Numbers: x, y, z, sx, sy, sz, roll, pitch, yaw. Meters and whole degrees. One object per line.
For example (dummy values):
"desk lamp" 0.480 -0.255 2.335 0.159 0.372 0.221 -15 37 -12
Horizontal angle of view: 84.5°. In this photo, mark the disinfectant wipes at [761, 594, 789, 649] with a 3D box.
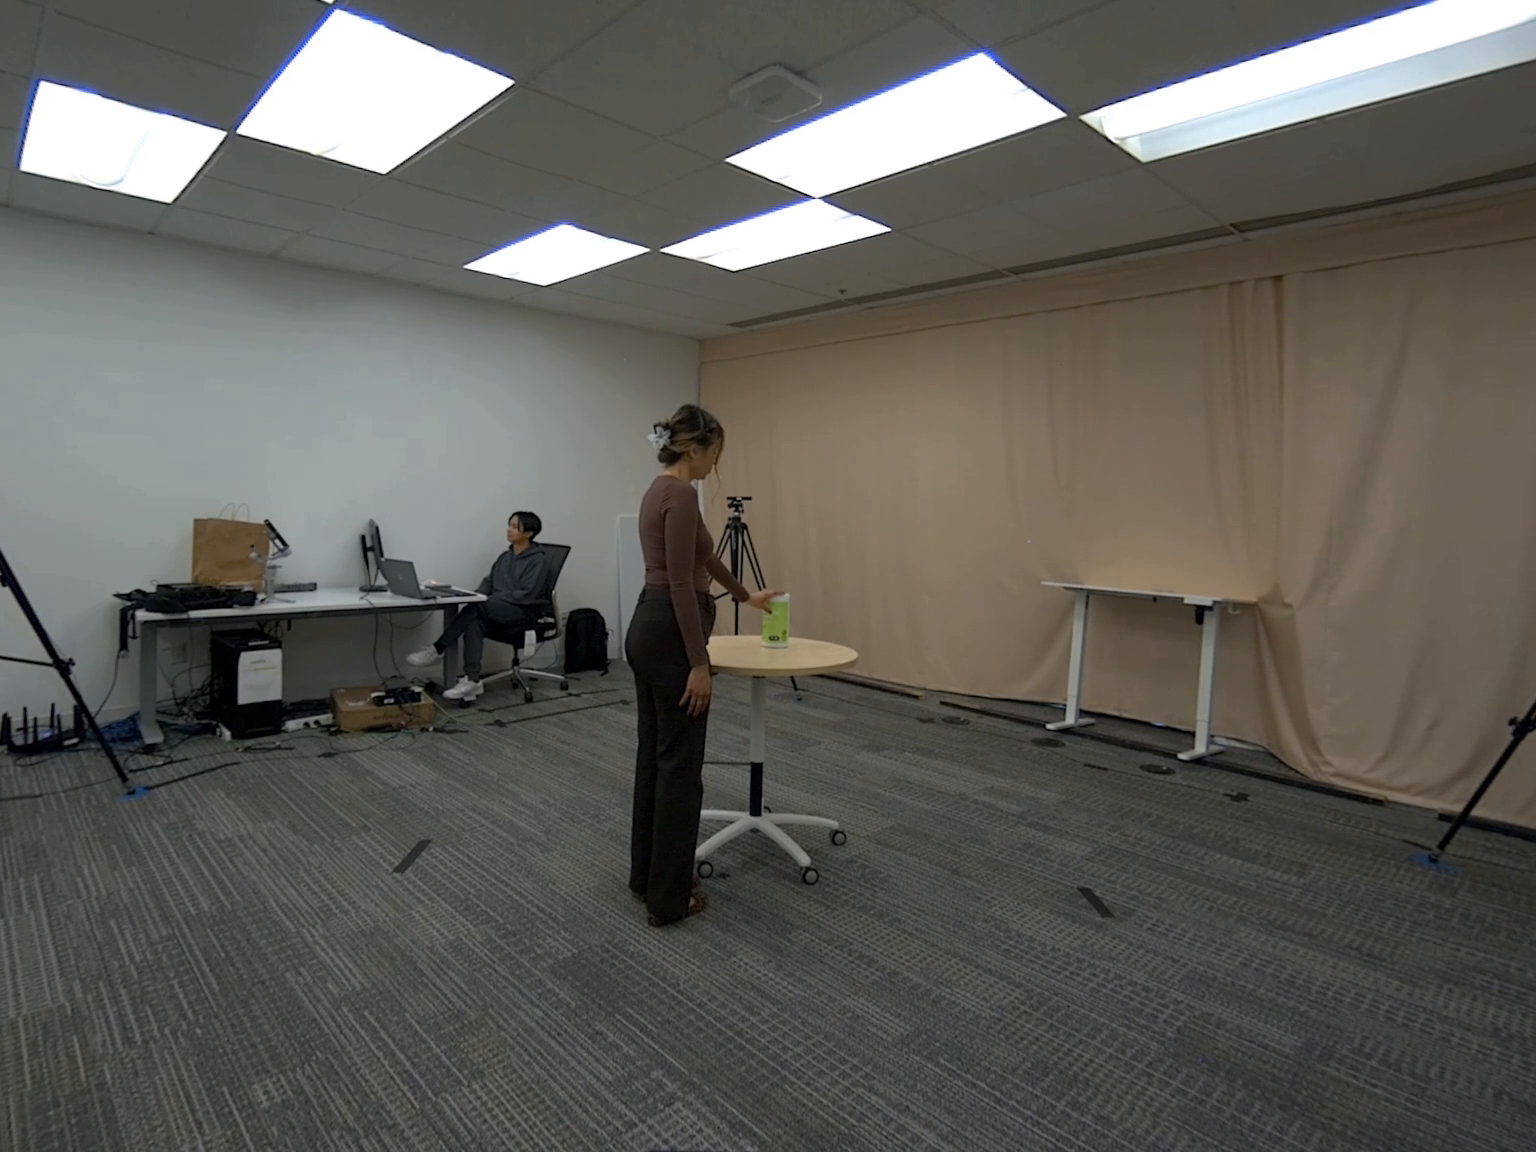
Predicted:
"disinfectant wipes" 0.025 0.178 3.421 0.118 0.217 0.118 1 5 -1
